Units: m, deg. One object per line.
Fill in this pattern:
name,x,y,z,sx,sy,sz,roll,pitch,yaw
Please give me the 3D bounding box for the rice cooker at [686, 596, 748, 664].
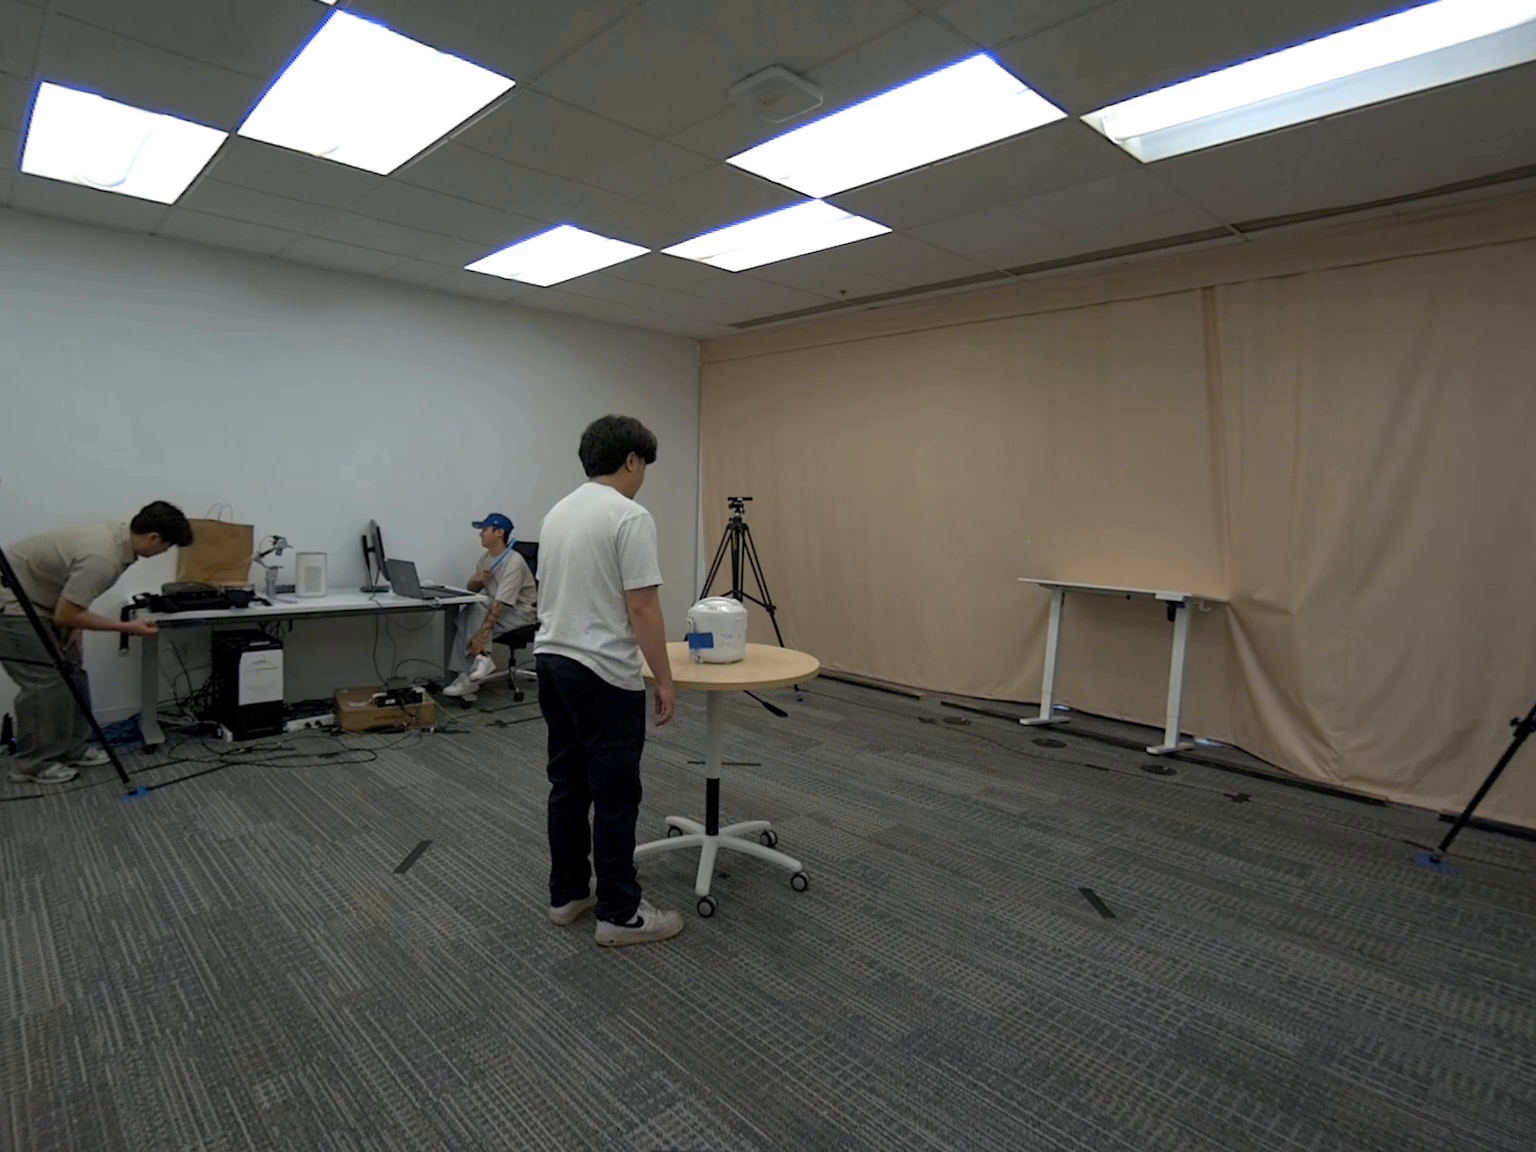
rice cooker,-0.192,0.192,3.106,0.221,0.232,0.217,3,5,4
